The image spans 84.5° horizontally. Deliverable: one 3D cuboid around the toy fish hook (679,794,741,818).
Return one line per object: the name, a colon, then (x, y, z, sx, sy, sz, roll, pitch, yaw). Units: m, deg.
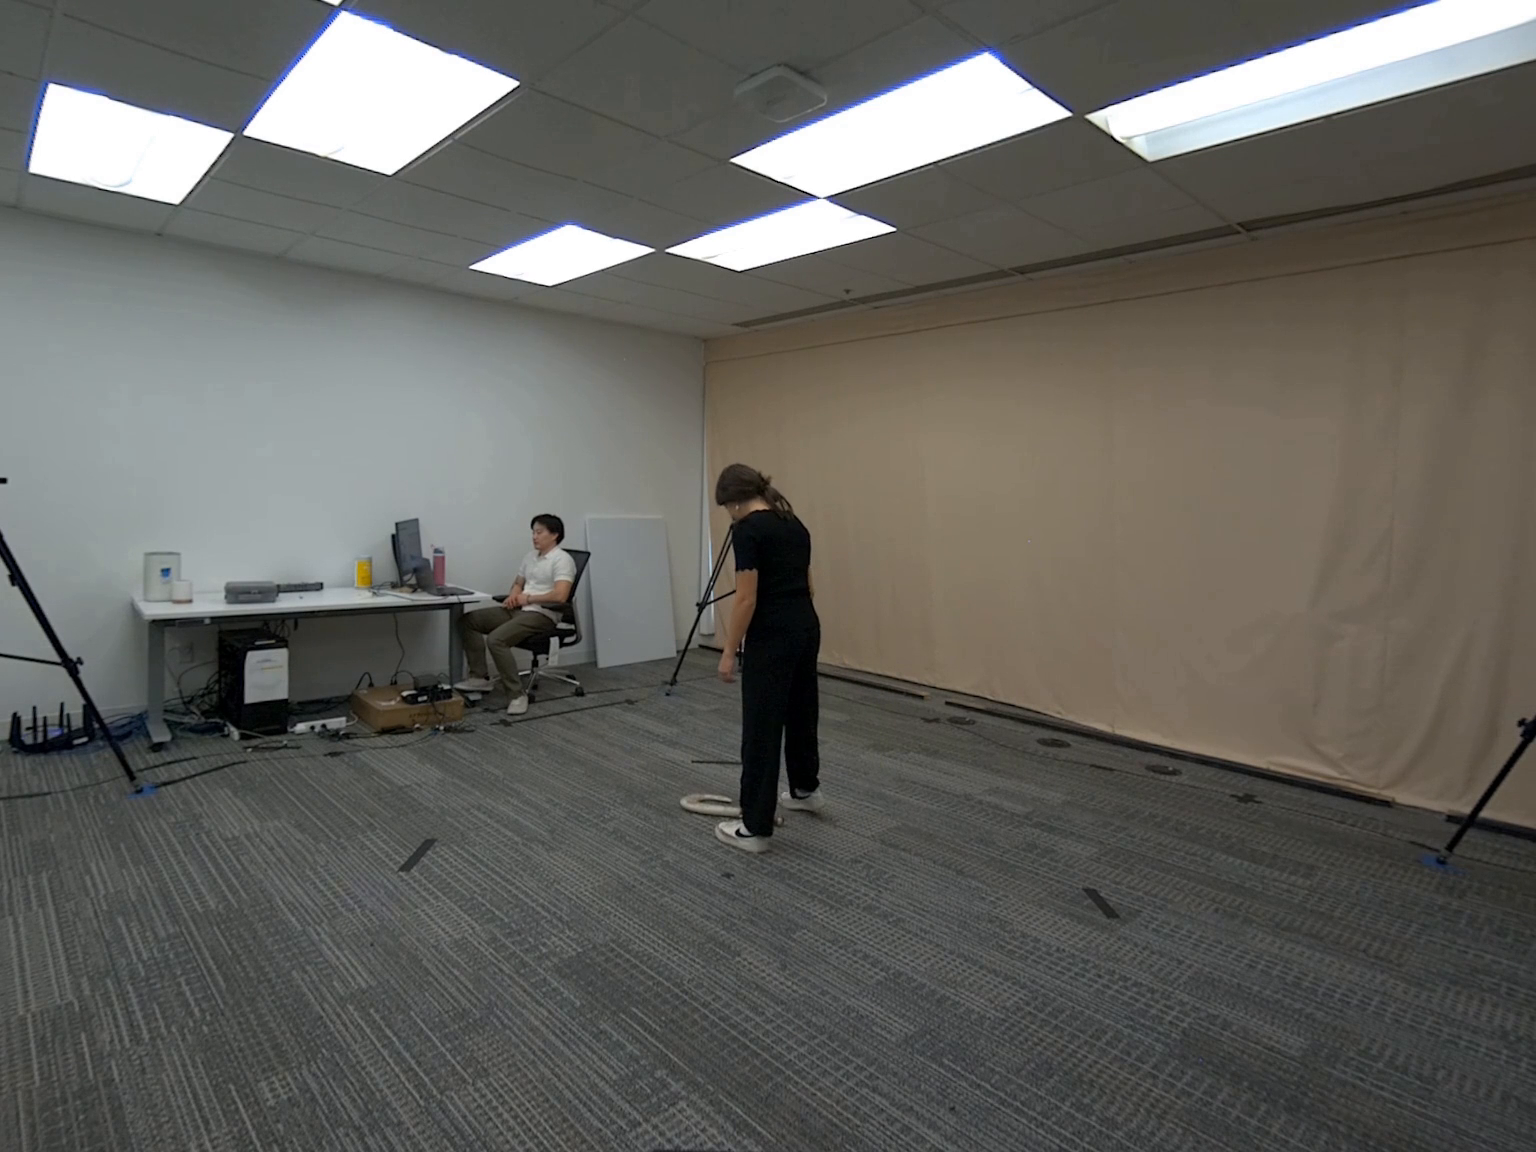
toy fish hook: (-0.153, 1.021, 3.732, 0.517, 0.048, 0.221, 4, 6, 26)
